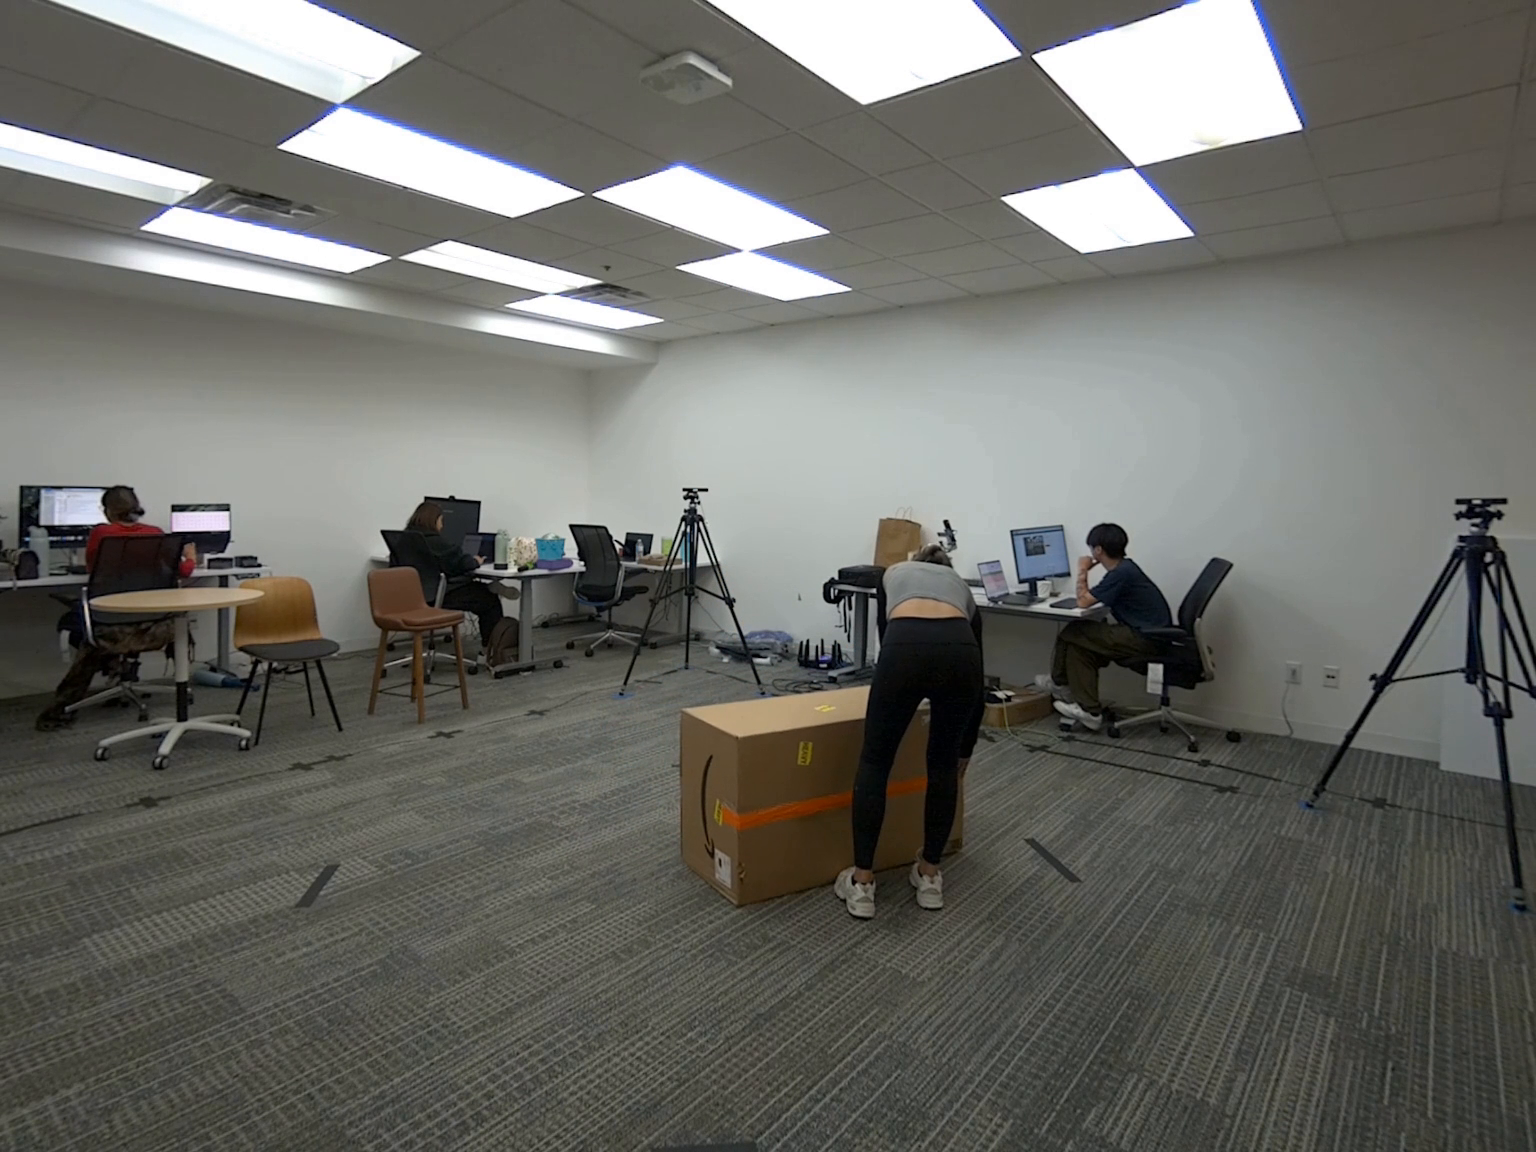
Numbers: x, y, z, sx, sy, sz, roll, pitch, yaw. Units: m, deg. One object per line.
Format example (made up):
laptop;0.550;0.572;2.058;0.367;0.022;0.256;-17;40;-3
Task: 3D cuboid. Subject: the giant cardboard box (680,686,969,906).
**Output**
giant cardboard box;0.200;0.772;3.236;1.000;0.582;0.460;-2;5;-31
